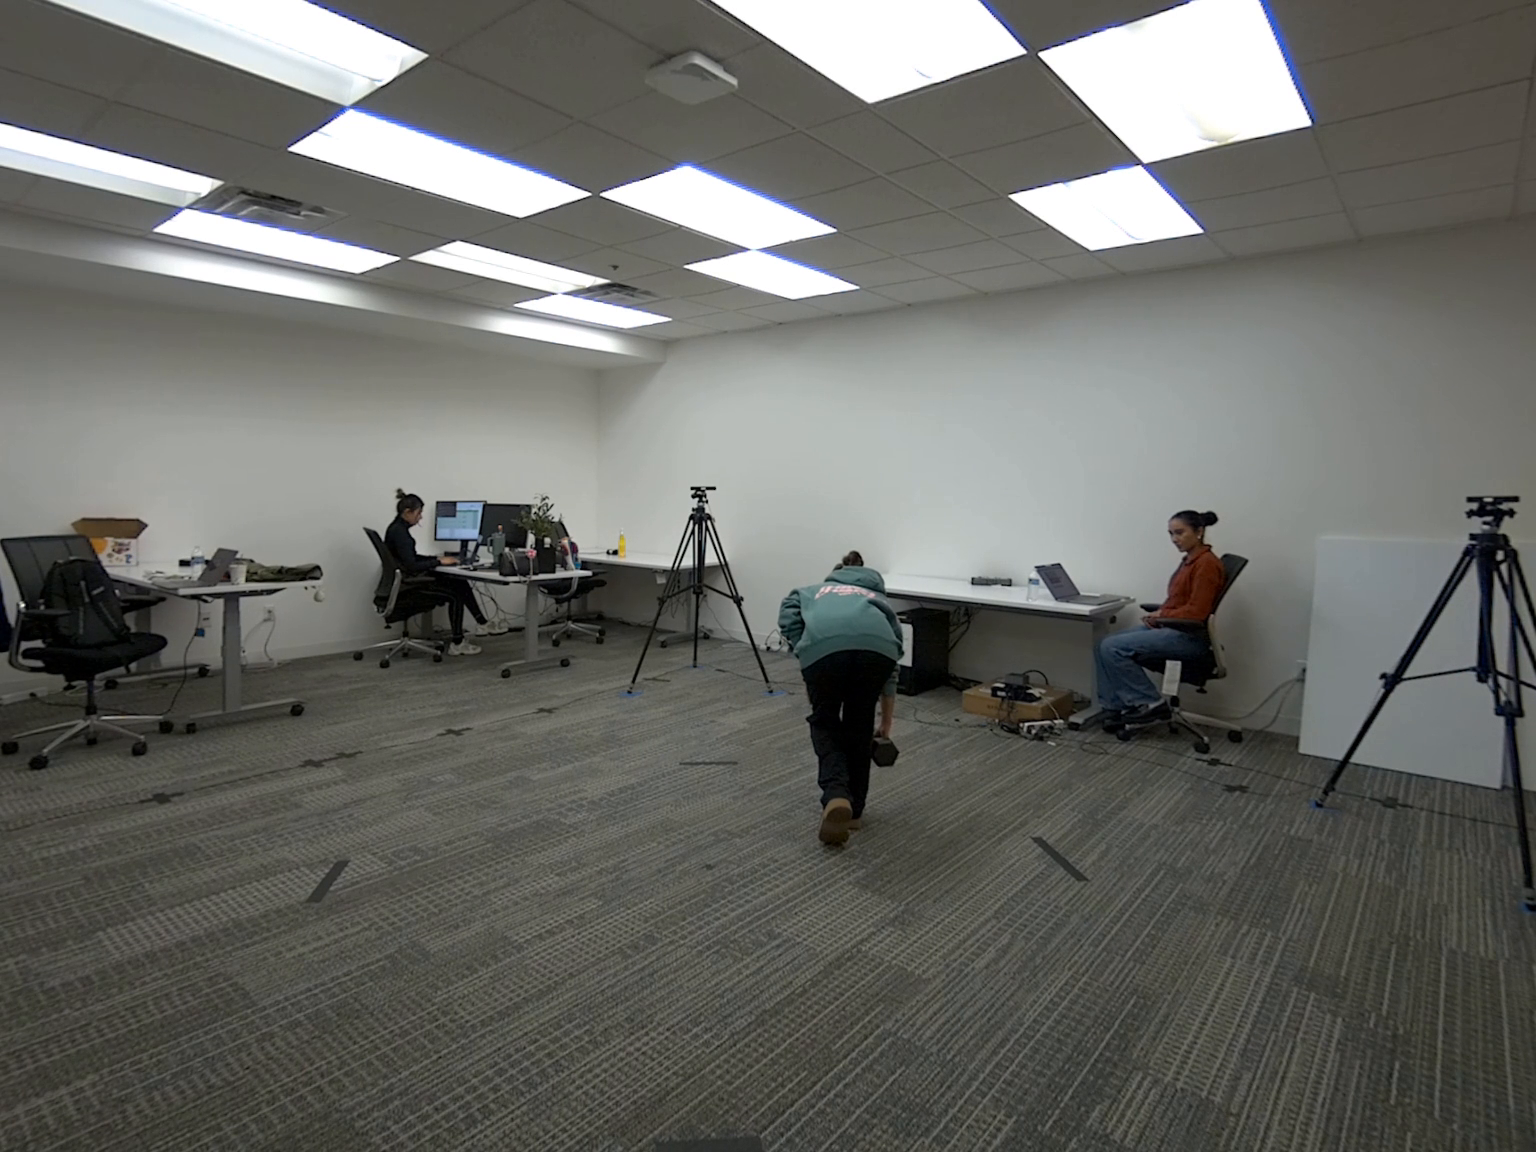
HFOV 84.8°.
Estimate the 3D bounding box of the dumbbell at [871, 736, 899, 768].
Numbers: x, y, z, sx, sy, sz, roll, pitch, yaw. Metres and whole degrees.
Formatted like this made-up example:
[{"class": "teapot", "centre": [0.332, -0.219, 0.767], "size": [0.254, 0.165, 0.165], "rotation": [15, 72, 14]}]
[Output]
[{"class": "dumbbell", "centre": [0.453, 0.718, 3.635], "size": [0.108, 0.123, 0.296], "rotation": [27, -2, -8]}]
